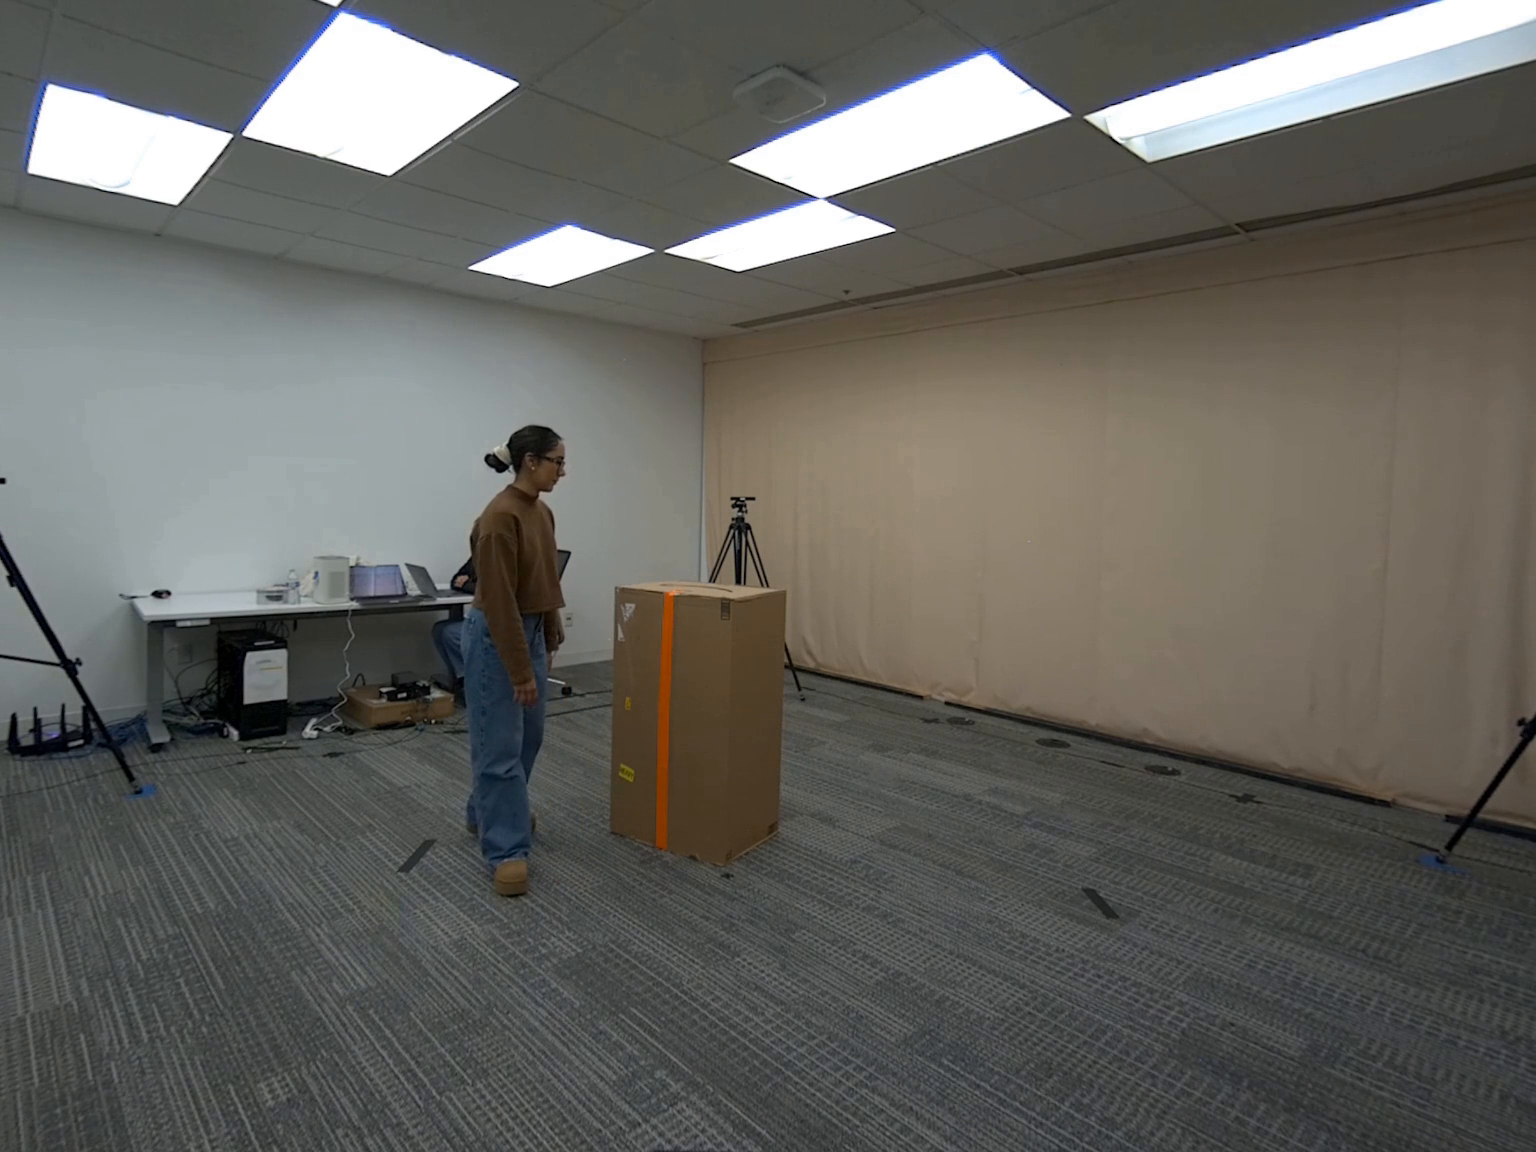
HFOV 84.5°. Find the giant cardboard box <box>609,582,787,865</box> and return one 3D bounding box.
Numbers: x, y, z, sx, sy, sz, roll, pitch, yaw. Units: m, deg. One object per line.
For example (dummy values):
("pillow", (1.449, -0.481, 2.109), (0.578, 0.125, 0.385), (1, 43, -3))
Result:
("giant cardboard box", (-0.296, 0.561, 3.480), (0.591, 1.023, 0.417), (4, 4, 31))
